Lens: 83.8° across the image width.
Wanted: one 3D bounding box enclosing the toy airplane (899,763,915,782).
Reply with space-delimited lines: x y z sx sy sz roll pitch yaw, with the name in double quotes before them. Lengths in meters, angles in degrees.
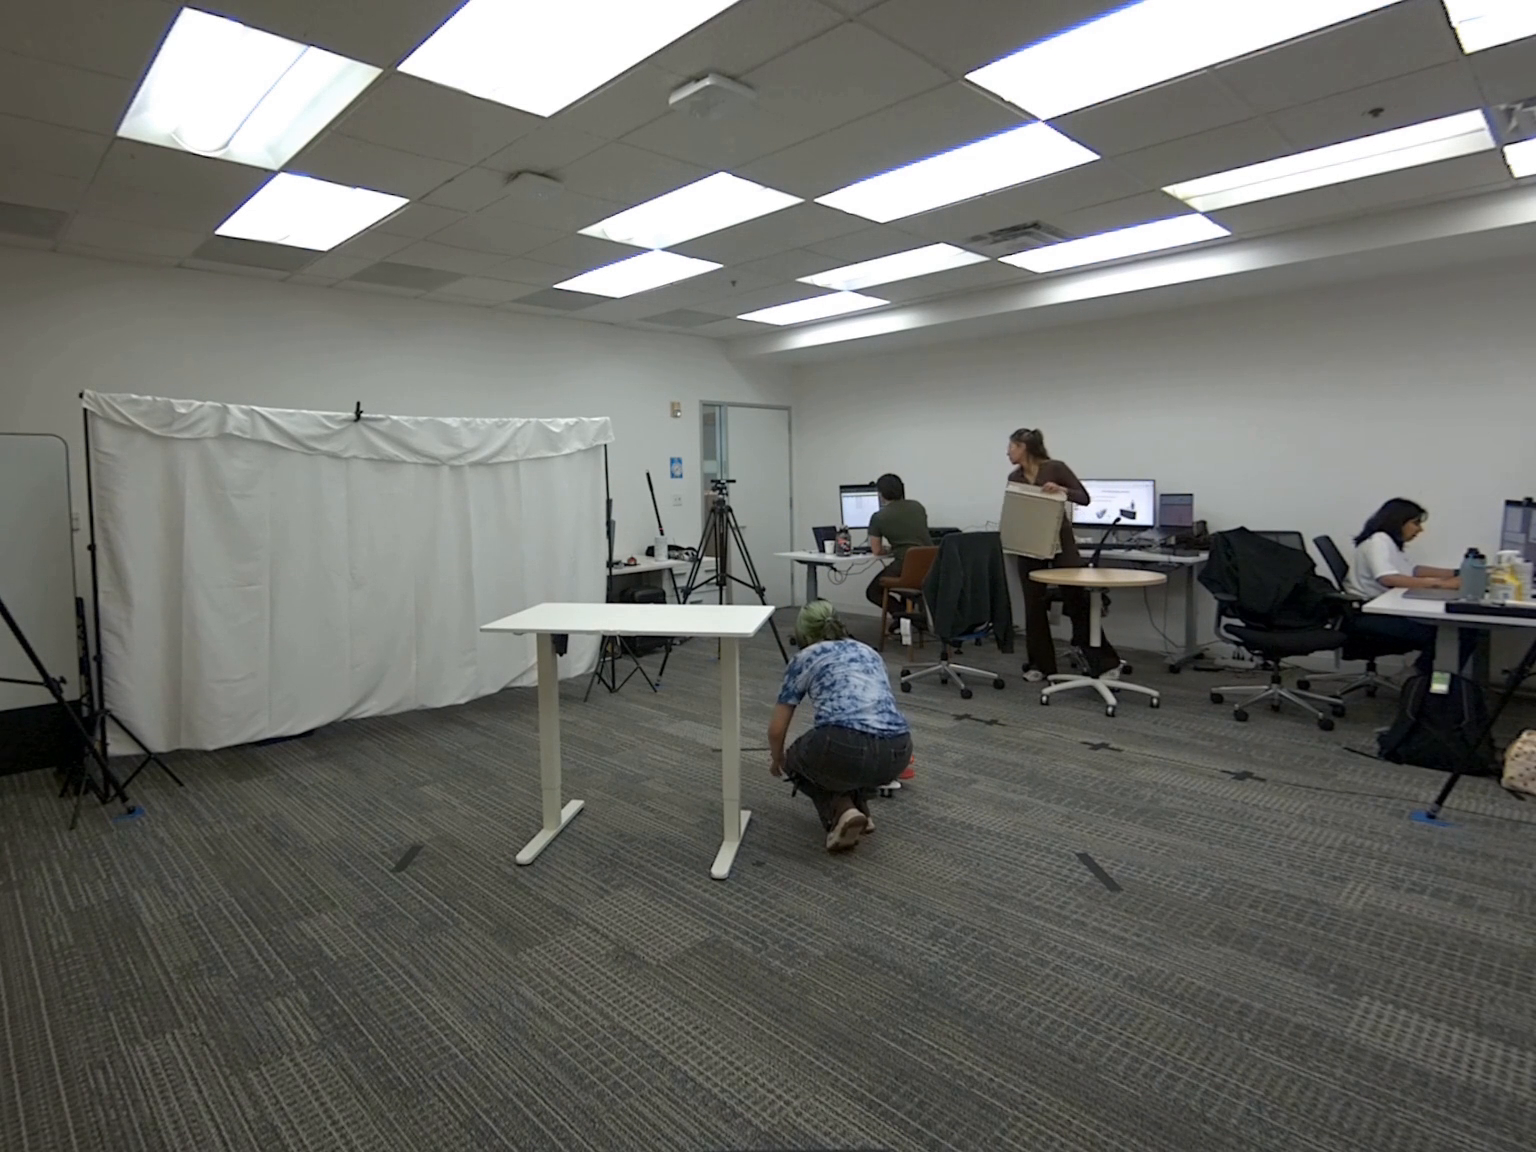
"toy airplane" 0.549 0.883 3.836 0.246 0.156 0.265 -3 4 -21
